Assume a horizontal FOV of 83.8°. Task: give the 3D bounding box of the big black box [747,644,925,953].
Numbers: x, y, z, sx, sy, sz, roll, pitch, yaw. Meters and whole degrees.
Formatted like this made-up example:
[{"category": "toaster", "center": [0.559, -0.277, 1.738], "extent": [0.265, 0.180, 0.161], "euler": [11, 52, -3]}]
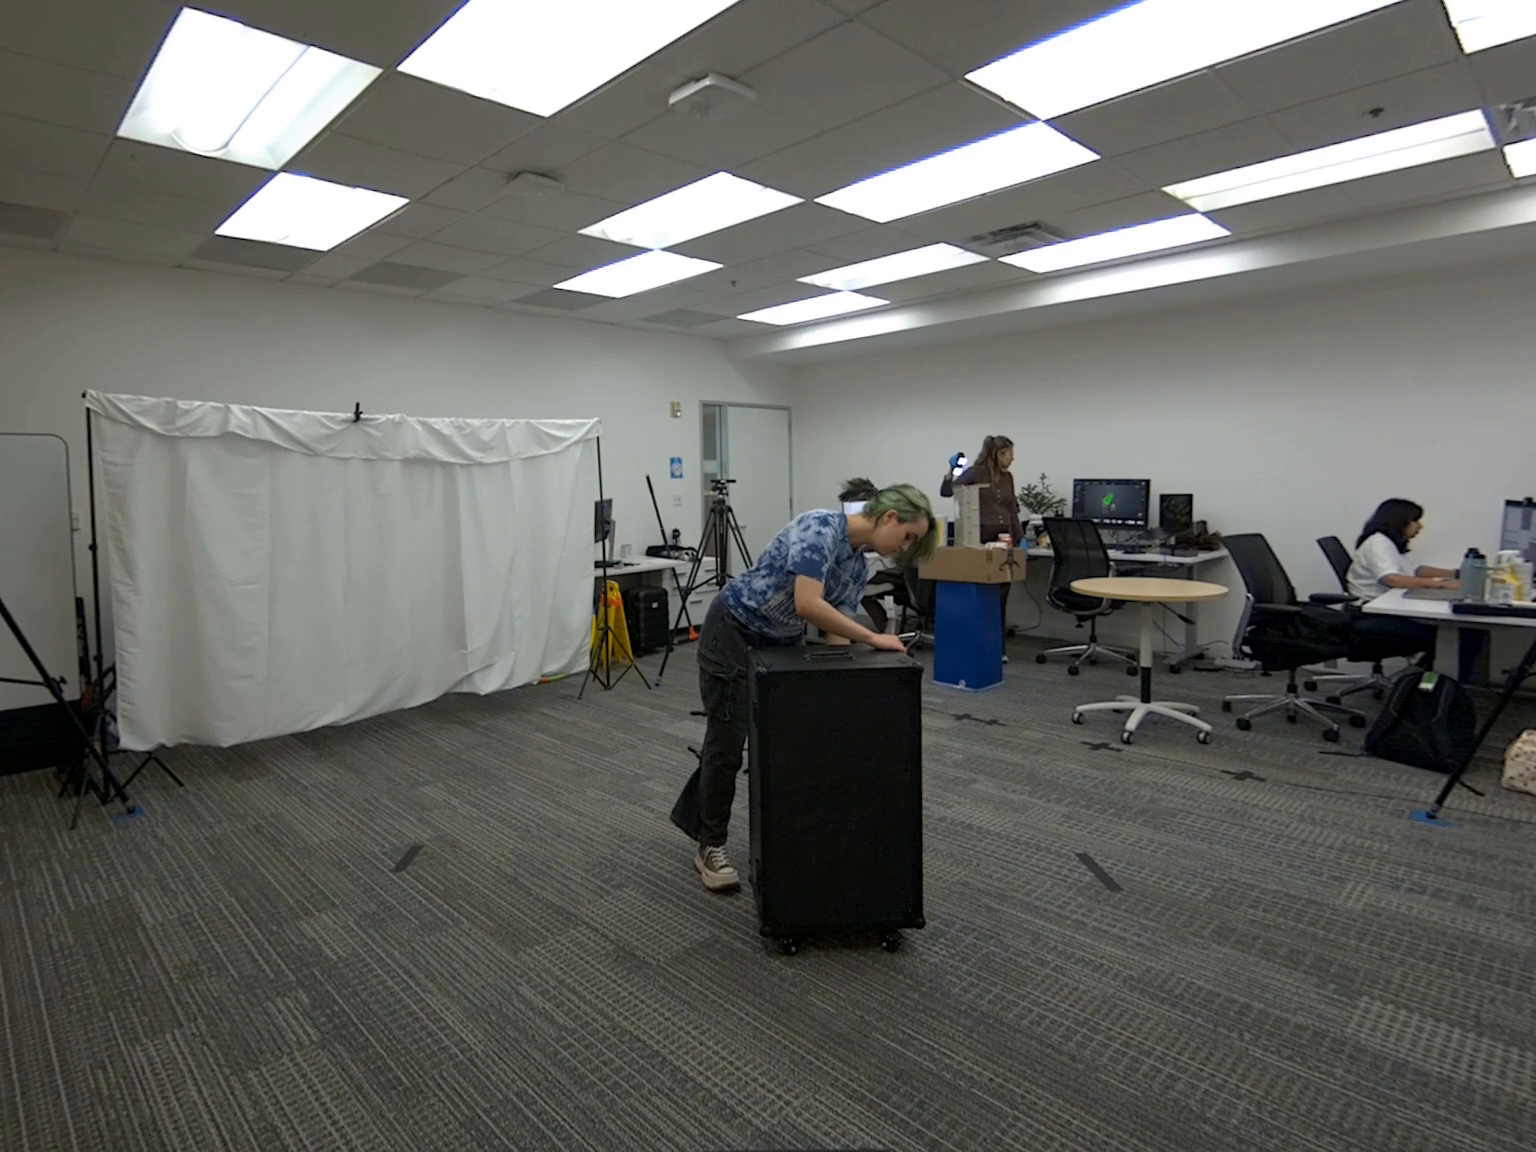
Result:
[{"category": "big black box", "center": [0.194, 0.679, 2.649], "extent": [0.519, 0.859, 0.399], "euler": [-2, 3, -4]}]
